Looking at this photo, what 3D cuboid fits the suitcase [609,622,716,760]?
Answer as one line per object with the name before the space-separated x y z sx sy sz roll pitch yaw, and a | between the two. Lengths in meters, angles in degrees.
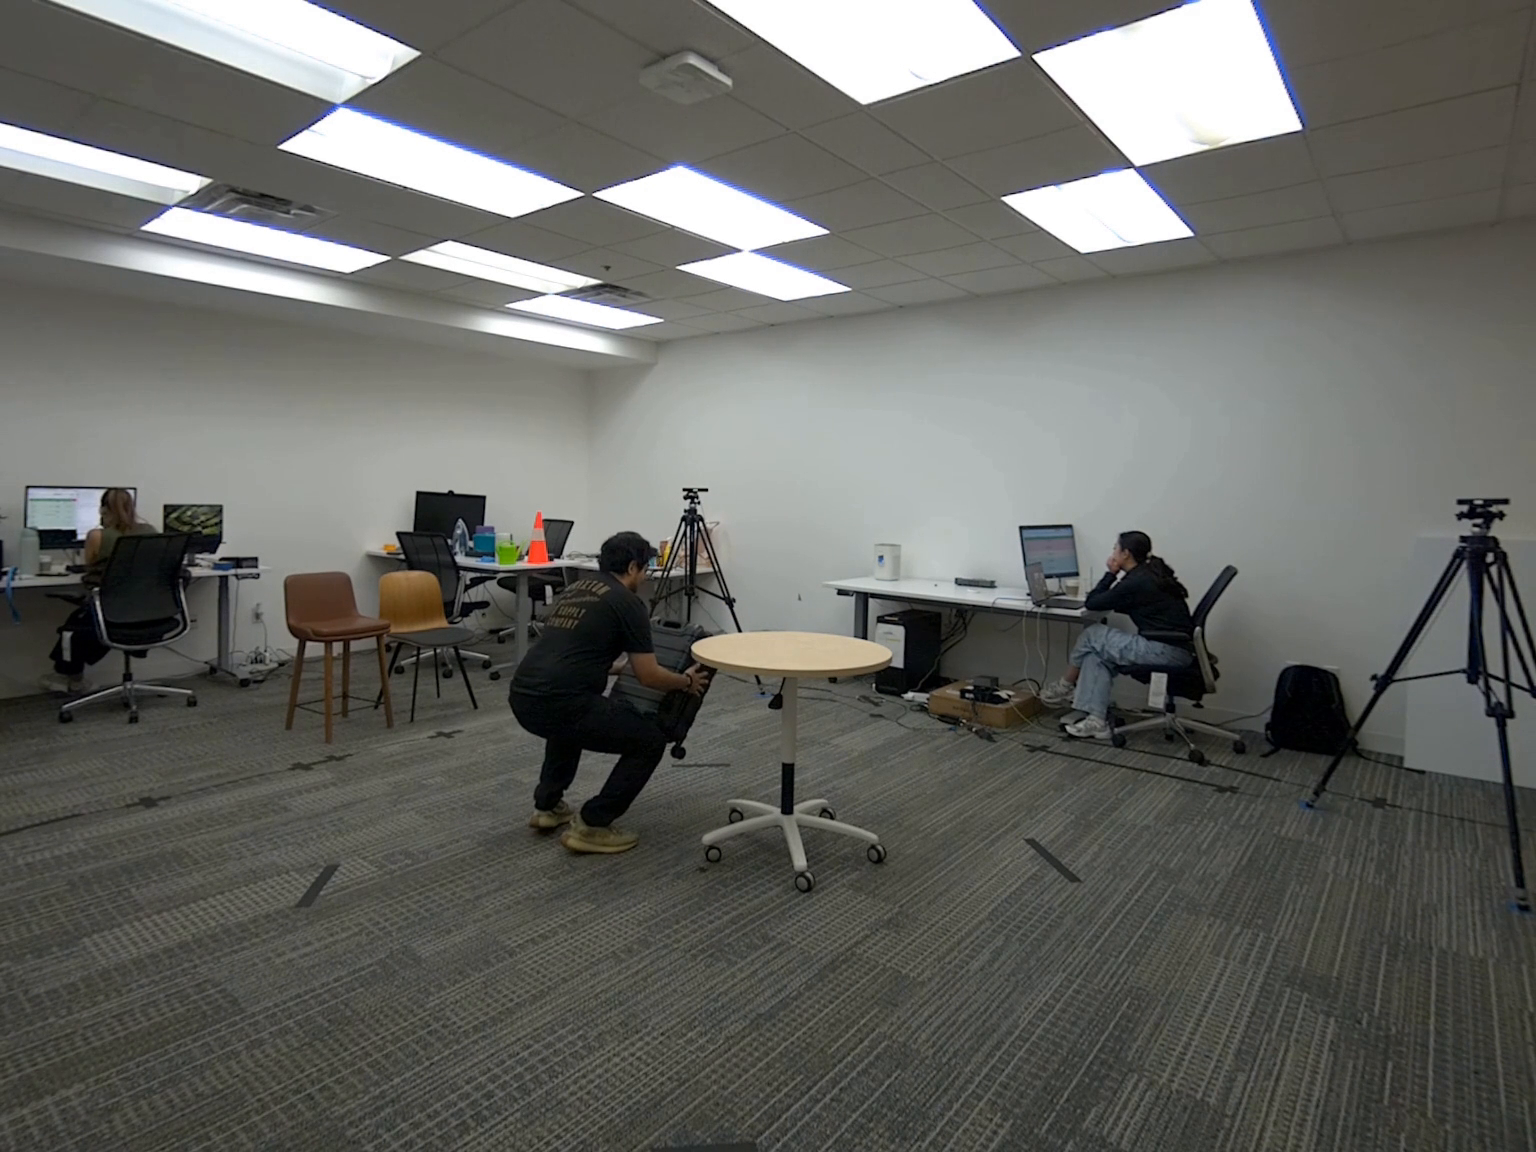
suitcase | -0.467 0.465 3.748 0.388 0.554 0.238 5 -30 38
